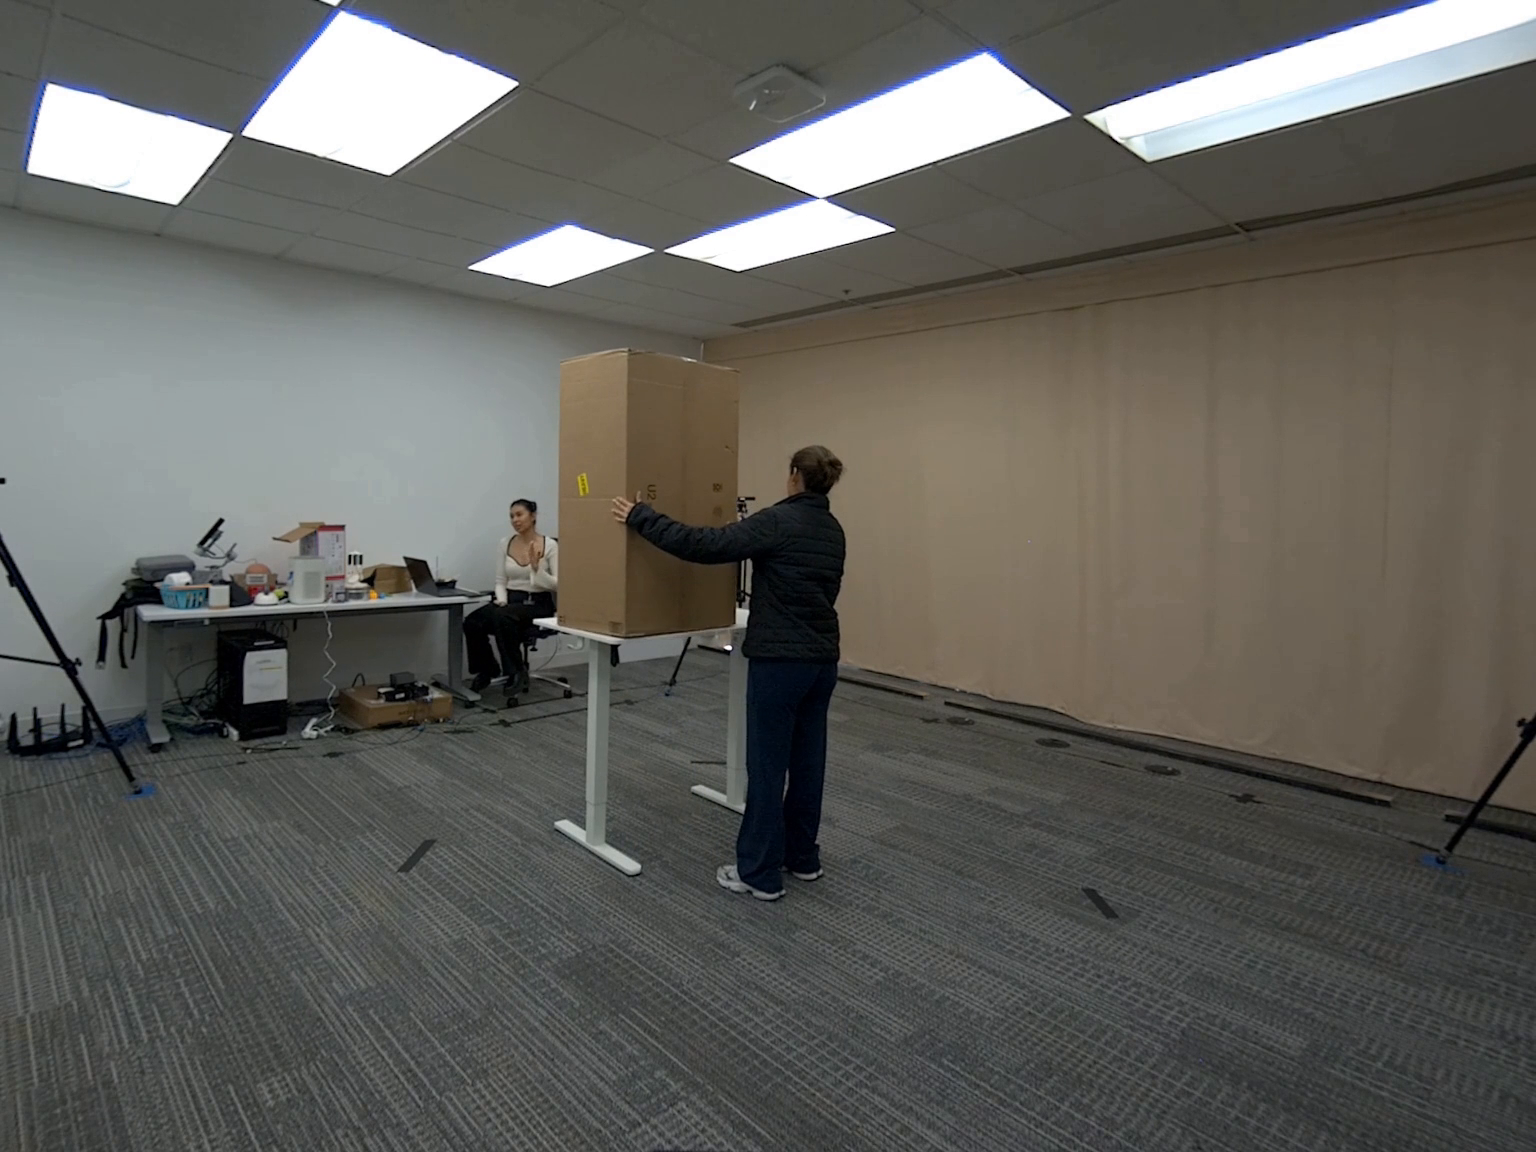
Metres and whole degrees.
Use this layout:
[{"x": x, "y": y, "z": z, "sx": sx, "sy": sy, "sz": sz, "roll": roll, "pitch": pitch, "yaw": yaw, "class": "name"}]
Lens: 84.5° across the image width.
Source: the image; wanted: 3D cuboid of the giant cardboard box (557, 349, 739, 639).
[{"x": -0.467, "y": -0.311, "z": 3.294, "sx": 0.437, "sy": 1.024, "sz": 0.564, "roll": 3, "pitch": 3, "yaw": 43, "class": "giant cardboard box"}]
